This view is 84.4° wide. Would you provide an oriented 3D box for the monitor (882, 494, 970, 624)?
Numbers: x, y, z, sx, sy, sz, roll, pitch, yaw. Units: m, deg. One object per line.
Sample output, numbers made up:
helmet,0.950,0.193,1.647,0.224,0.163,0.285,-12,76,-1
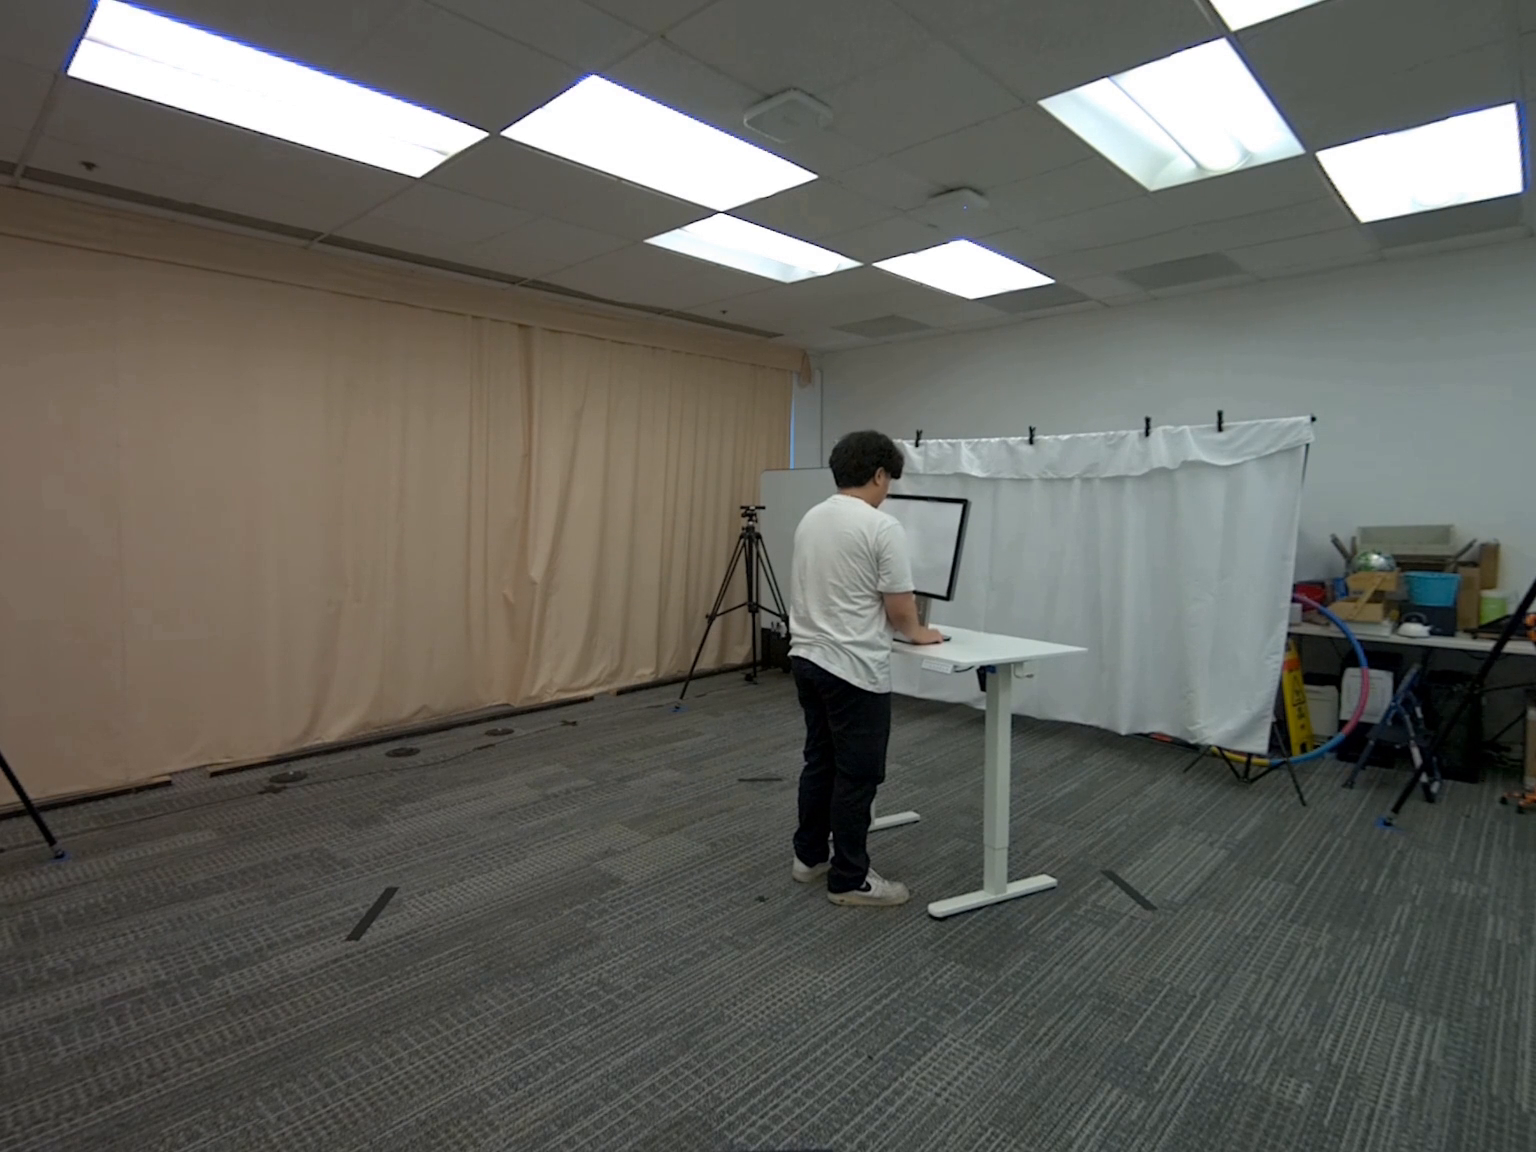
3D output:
monitor,0.573,-0.032,3.207,0.204,0.553,0.583,3,4,-32
